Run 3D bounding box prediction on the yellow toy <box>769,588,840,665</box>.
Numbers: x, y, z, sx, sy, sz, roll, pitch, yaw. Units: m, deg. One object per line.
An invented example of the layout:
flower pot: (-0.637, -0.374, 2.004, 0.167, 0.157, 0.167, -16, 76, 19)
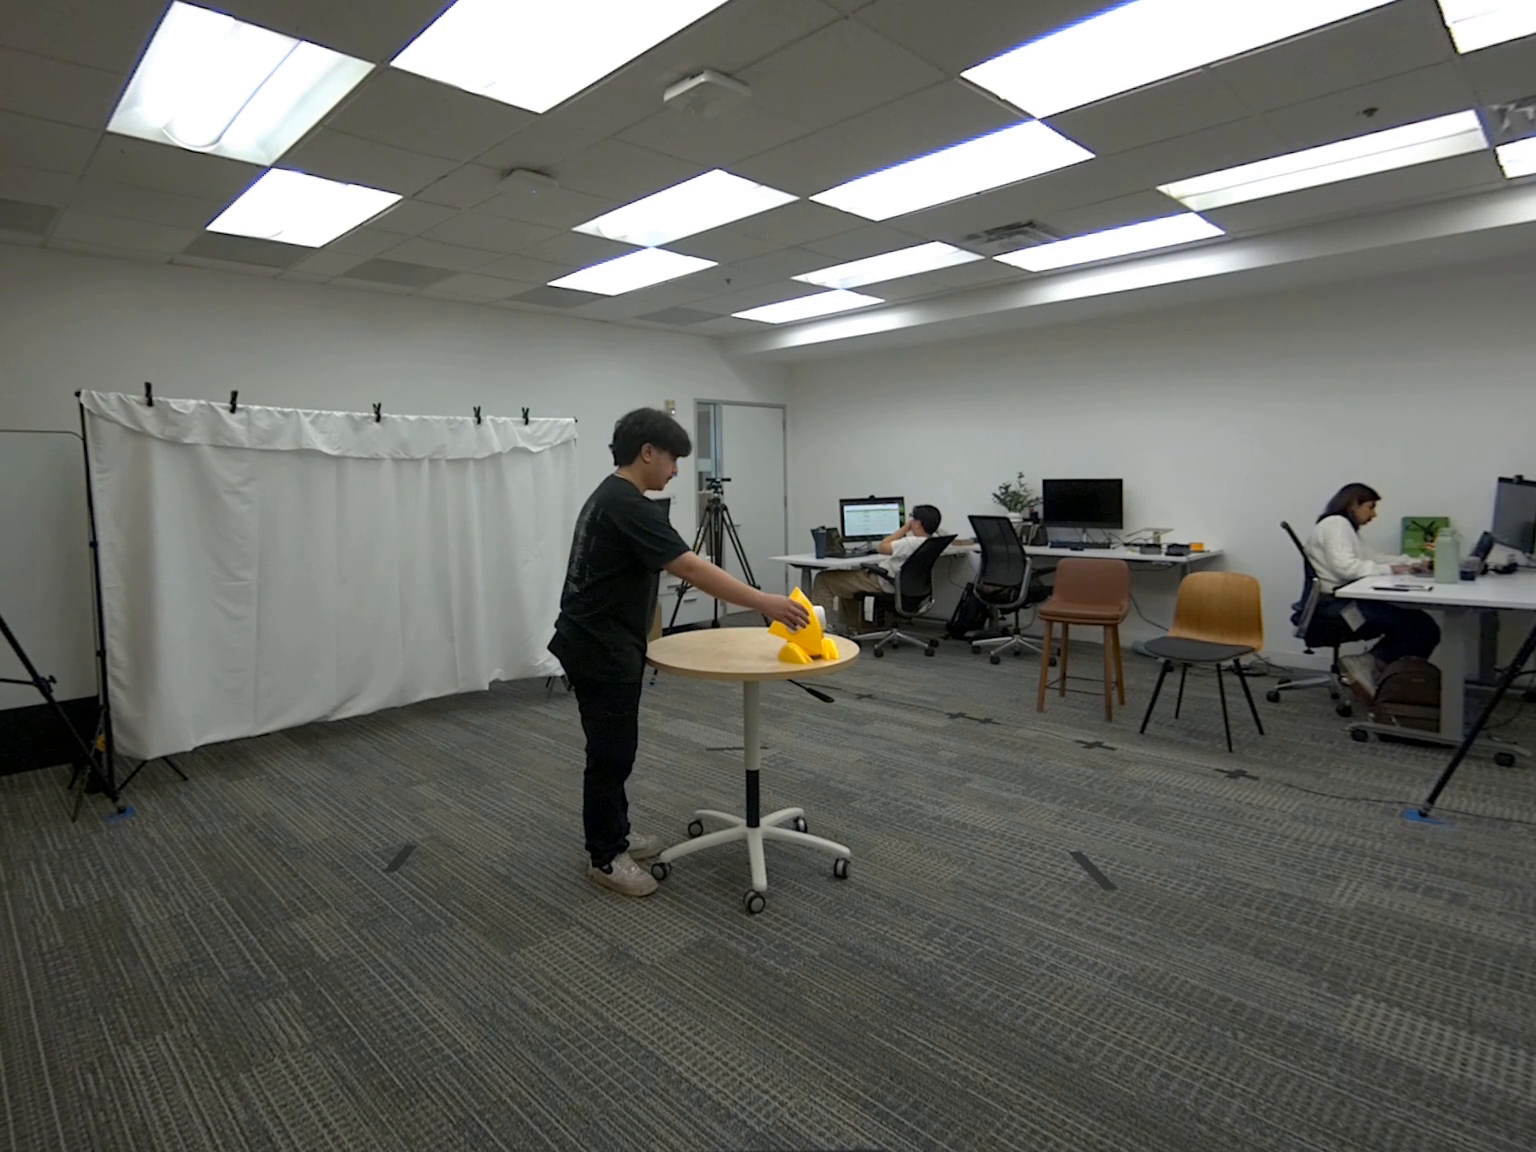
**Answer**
yellow toy: (0.130, 0.157, 2.880, 0.200, 0.230, 0.198, -3, 5, -29)
